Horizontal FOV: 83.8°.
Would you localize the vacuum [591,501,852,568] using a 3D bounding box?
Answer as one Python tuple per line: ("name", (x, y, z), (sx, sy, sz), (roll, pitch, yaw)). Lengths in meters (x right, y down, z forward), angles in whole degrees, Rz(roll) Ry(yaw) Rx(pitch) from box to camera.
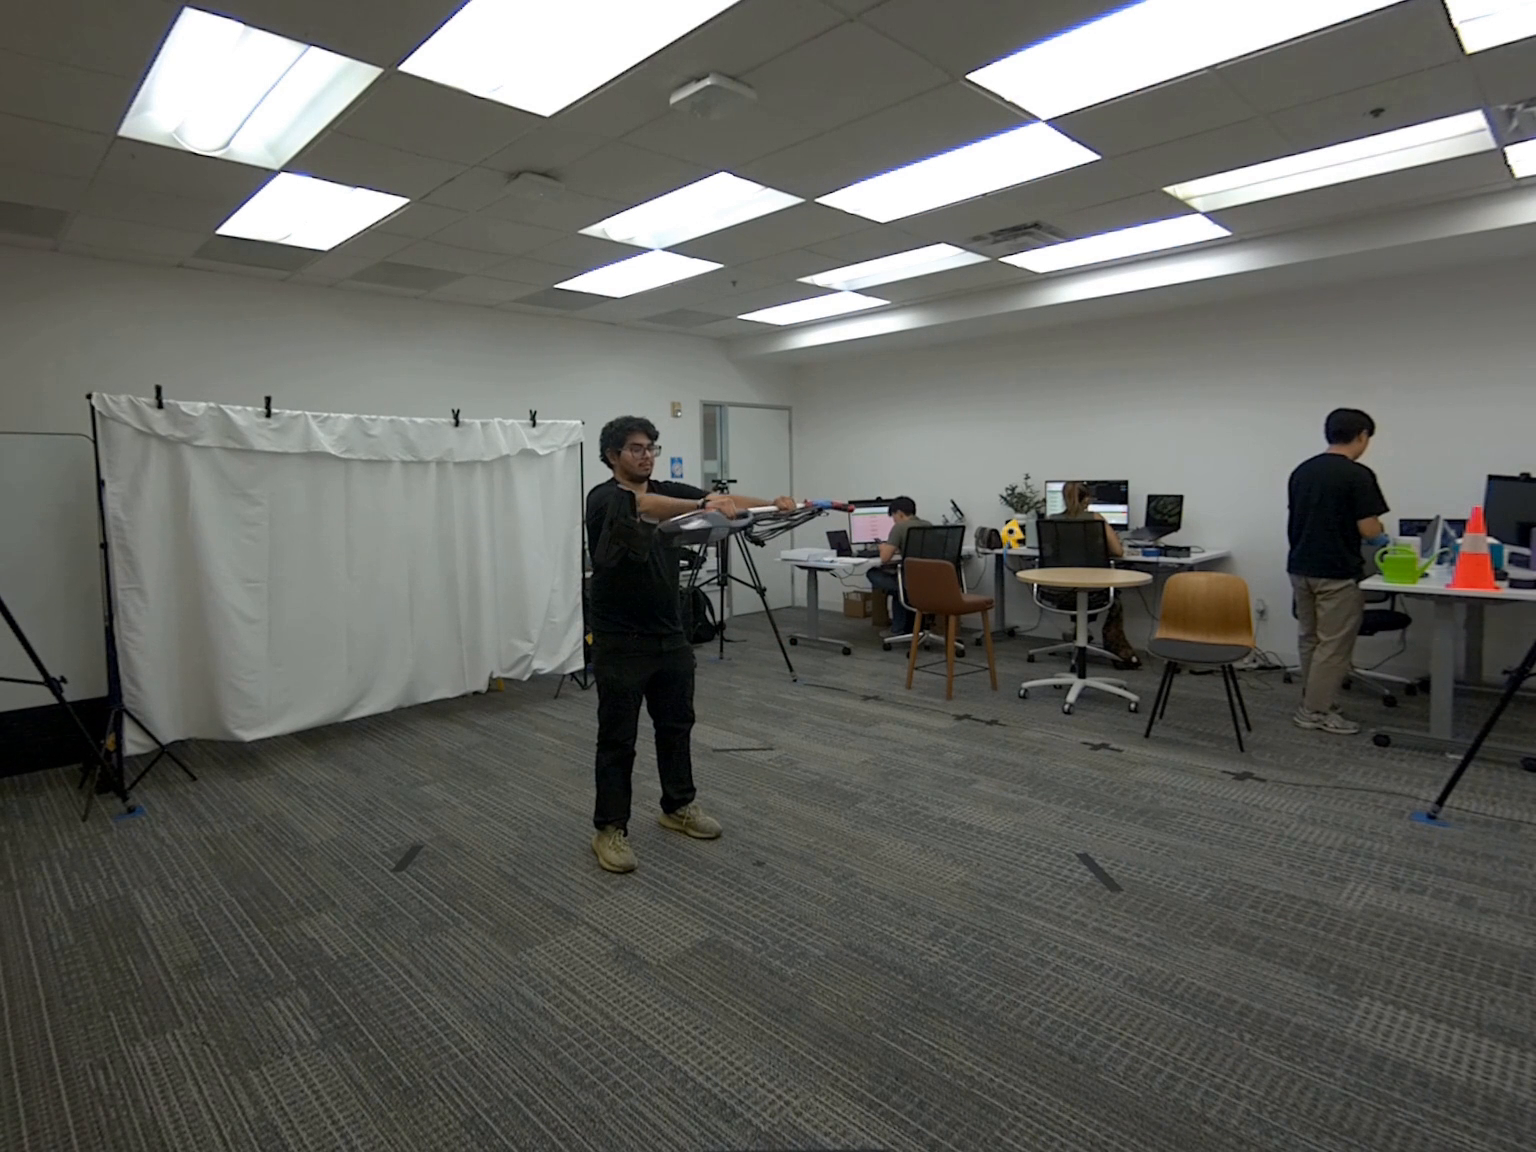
("vacuum", (-0.058, -0.182, 2.785), (1.023, 0.250, 0.149), (-10, 42, -47))
